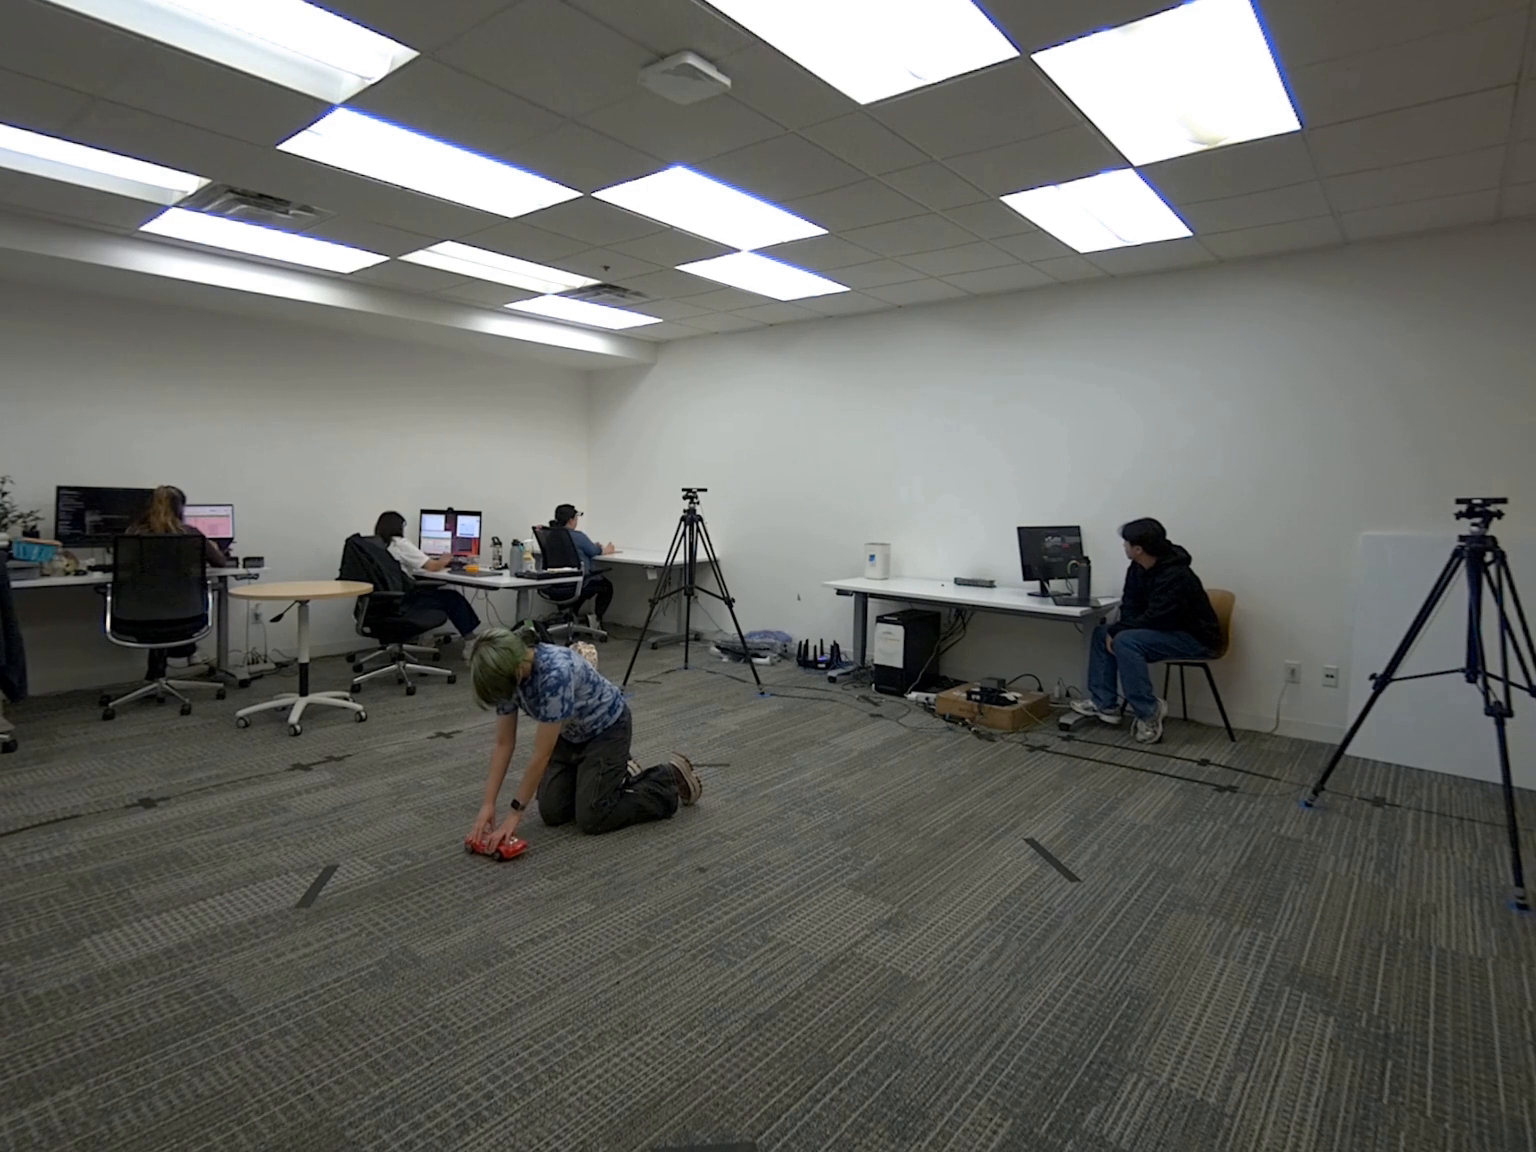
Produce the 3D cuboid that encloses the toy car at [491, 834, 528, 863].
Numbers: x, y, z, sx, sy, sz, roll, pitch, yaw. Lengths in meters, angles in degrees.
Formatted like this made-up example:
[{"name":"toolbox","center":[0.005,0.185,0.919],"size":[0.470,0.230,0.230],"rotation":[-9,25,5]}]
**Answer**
[{"name":"toy car","center":[-1.035,1.019,3.207],"size":[0.260,0.083,0.127],"rotation":[-11,0,28]}]
